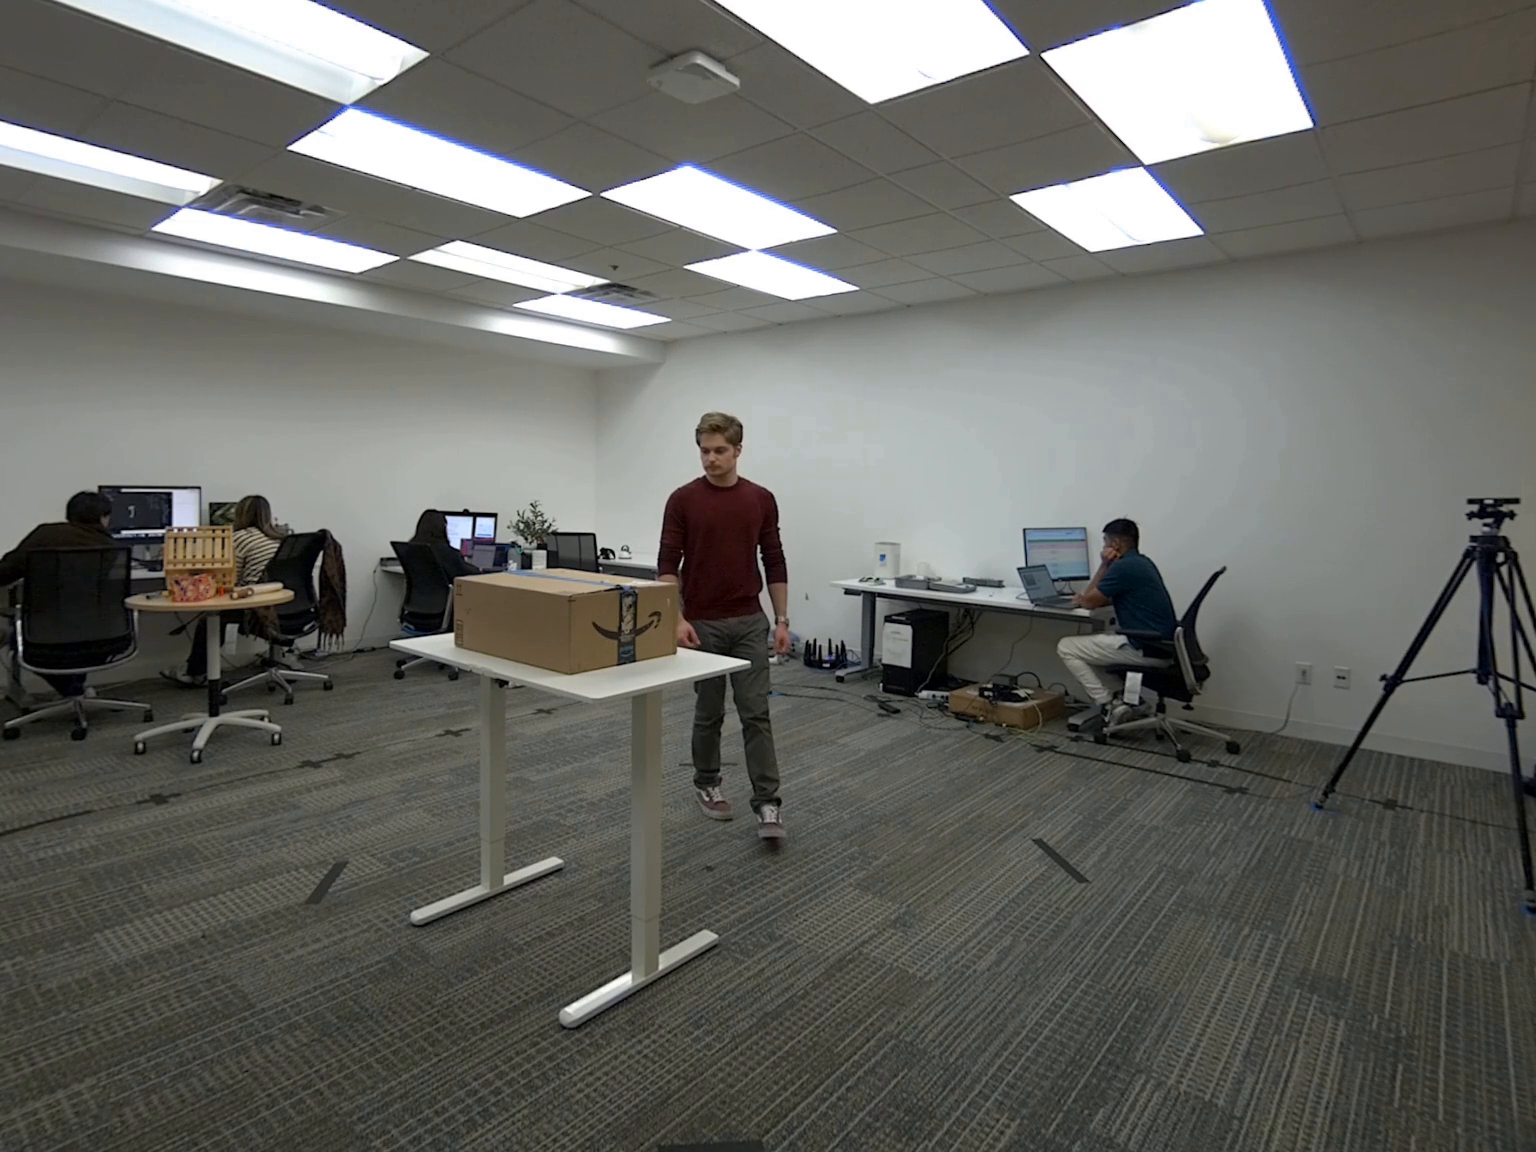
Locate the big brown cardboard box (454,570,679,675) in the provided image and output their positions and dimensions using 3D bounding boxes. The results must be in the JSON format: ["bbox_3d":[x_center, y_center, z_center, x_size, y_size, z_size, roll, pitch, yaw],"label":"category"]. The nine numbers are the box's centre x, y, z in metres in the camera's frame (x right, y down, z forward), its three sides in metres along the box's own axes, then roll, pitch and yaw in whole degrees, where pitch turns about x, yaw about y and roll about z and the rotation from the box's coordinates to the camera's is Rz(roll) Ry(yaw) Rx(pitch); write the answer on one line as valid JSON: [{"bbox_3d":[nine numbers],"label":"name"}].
[{"bbox_3d":[-0.626,0.117,2.602,0.608,0.232,0.405,5,7,39],"label":"big brown cardboard box"}]
